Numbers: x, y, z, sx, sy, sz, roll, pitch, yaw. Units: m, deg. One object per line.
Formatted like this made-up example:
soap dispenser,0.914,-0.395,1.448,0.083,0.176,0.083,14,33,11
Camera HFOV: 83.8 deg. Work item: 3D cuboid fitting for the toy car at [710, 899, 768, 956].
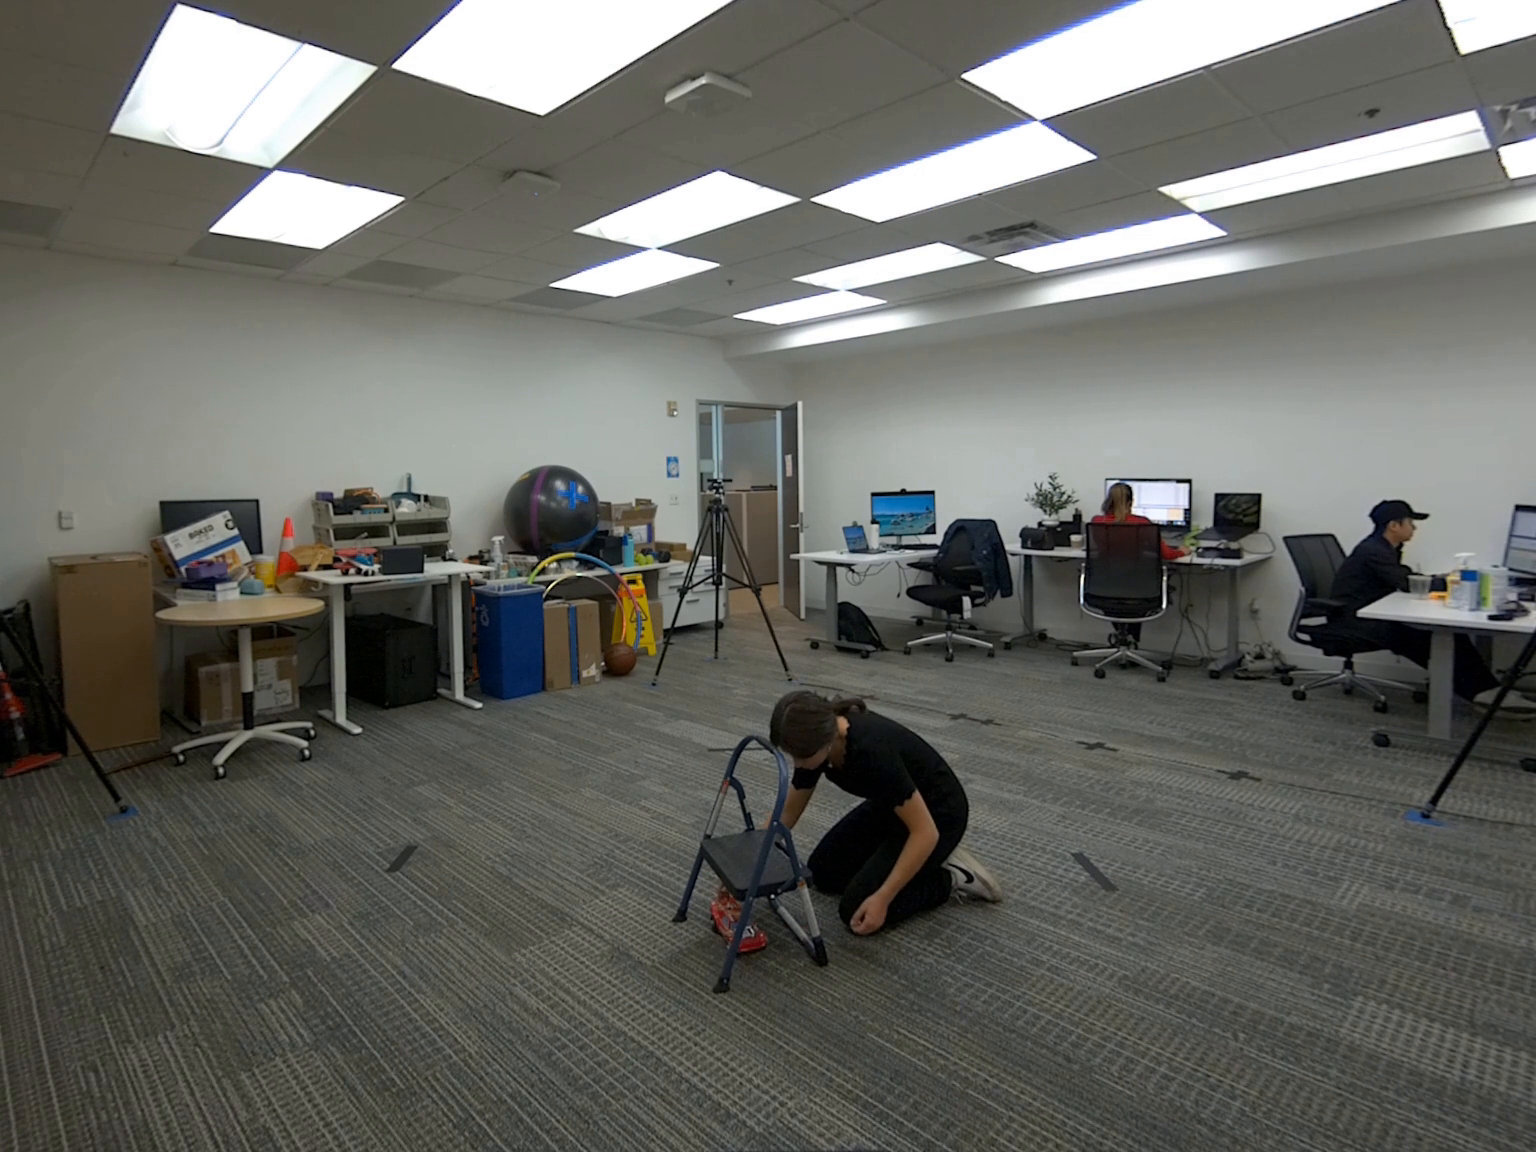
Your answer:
toy car,-0.094,1.079,2.616,0.128,0.082,0.262,-7,18,-20
